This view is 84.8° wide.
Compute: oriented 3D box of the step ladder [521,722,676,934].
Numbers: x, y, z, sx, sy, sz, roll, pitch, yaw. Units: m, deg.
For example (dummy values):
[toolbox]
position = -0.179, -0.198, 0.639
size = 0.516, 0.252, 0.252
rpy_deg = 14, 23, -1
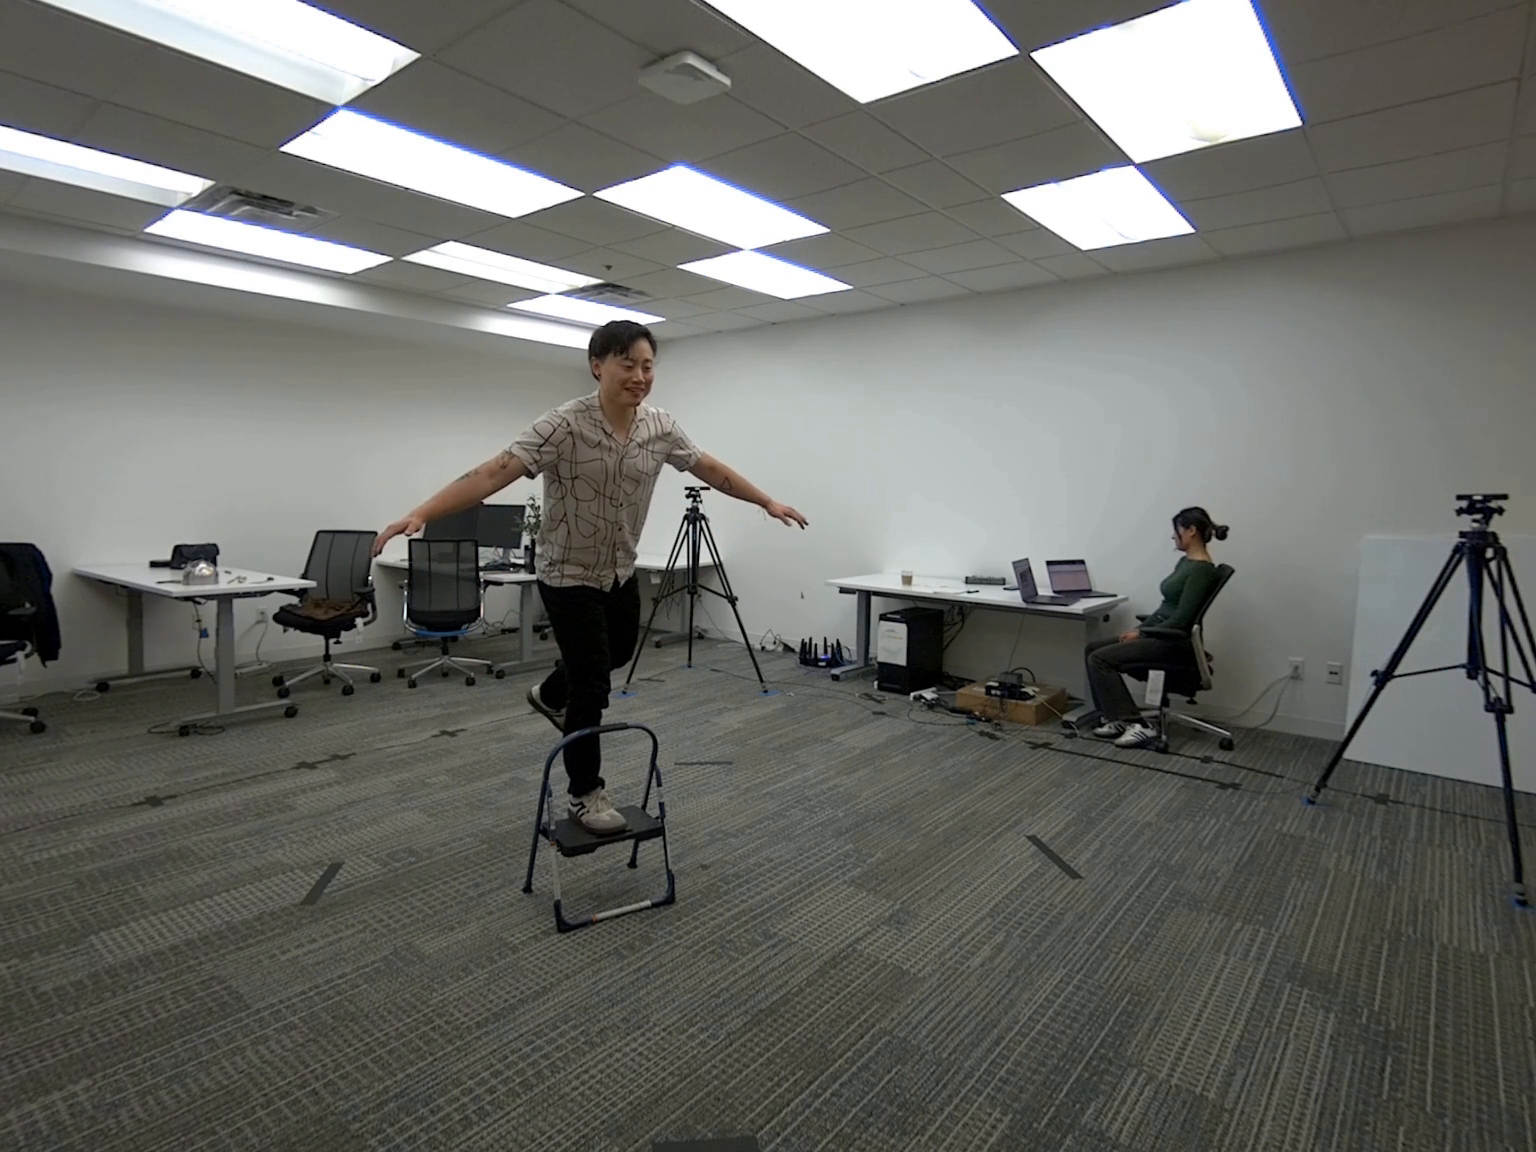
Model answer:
[step ladder]
position = -0.580, 0.781, 2.870
size = 0.418, 0.604, 0.360
rpy_deg = -2, 4, -34
